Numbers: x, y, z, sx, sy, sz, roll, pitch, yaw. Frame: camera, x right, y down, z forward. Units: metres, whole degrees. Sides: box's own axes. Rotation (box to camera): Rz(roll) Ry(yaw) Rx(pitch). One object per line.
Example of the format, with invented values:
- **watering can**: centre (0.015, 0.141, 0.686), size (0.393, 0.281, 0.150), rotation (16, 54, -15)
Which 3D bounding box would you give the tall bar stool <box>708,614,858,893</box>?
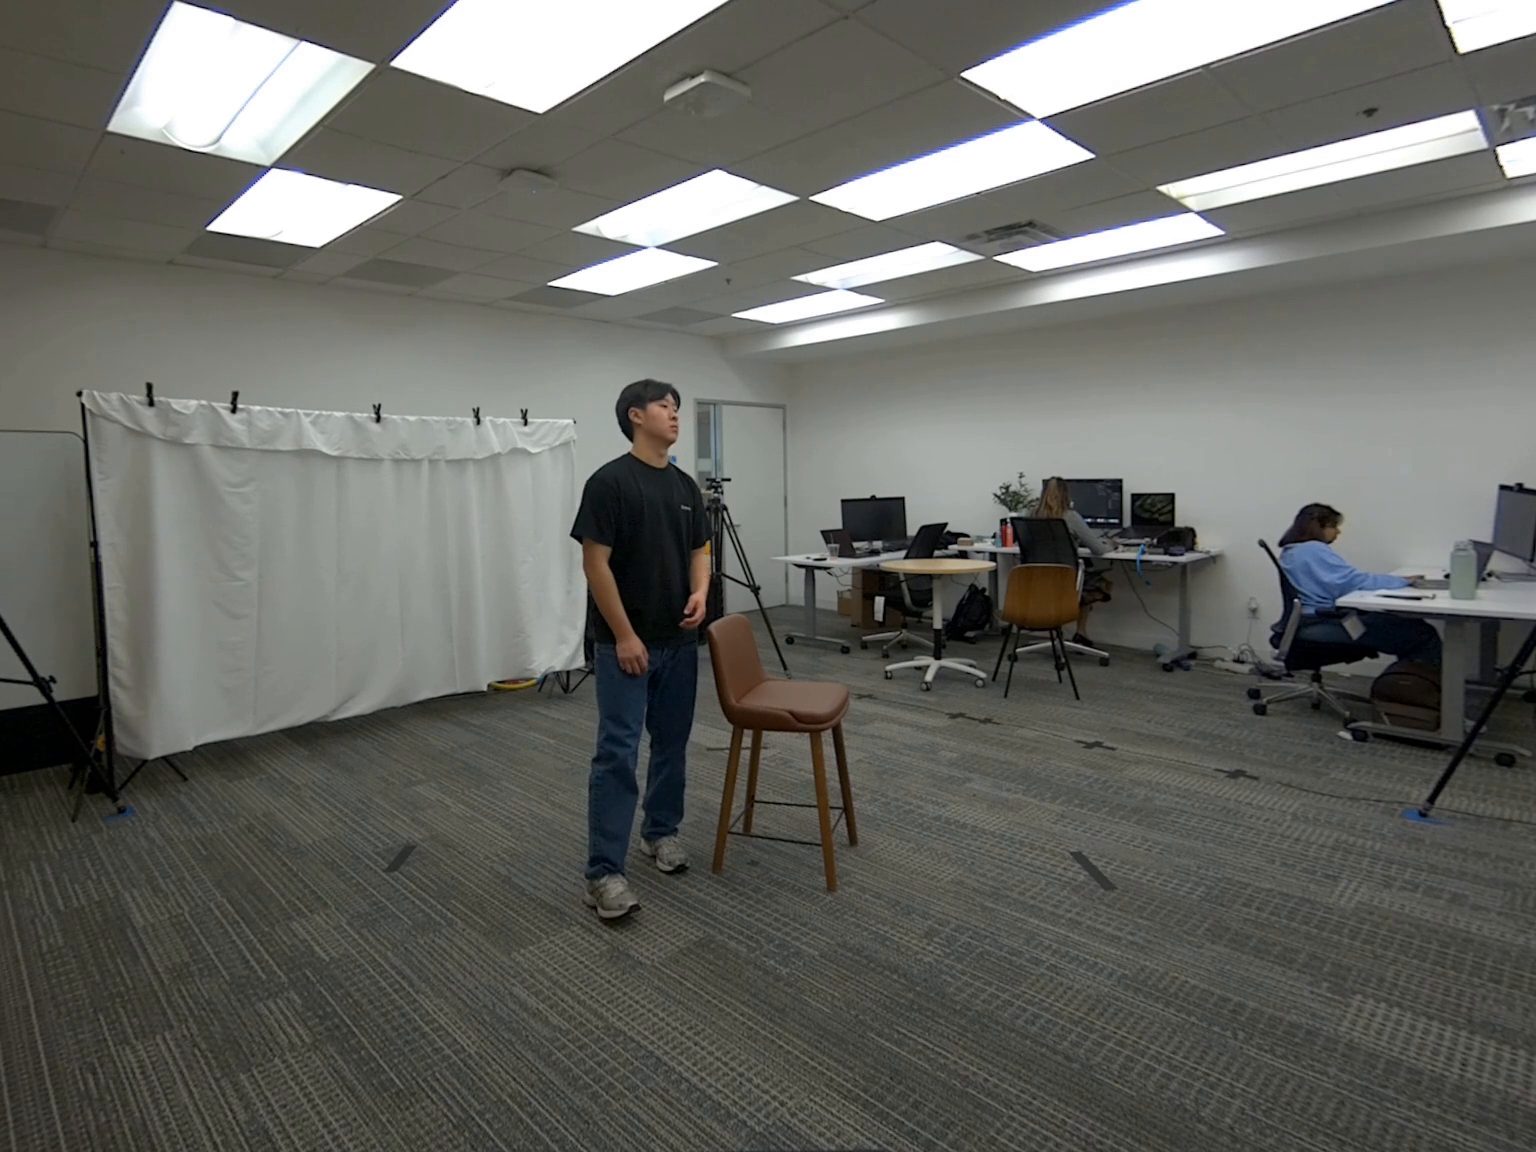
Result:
- **tall bar stool**: centre (0.058, 0.604, 3.120), size (0.476, 0.888, 0.449), rotation (-1, 3, 20)
